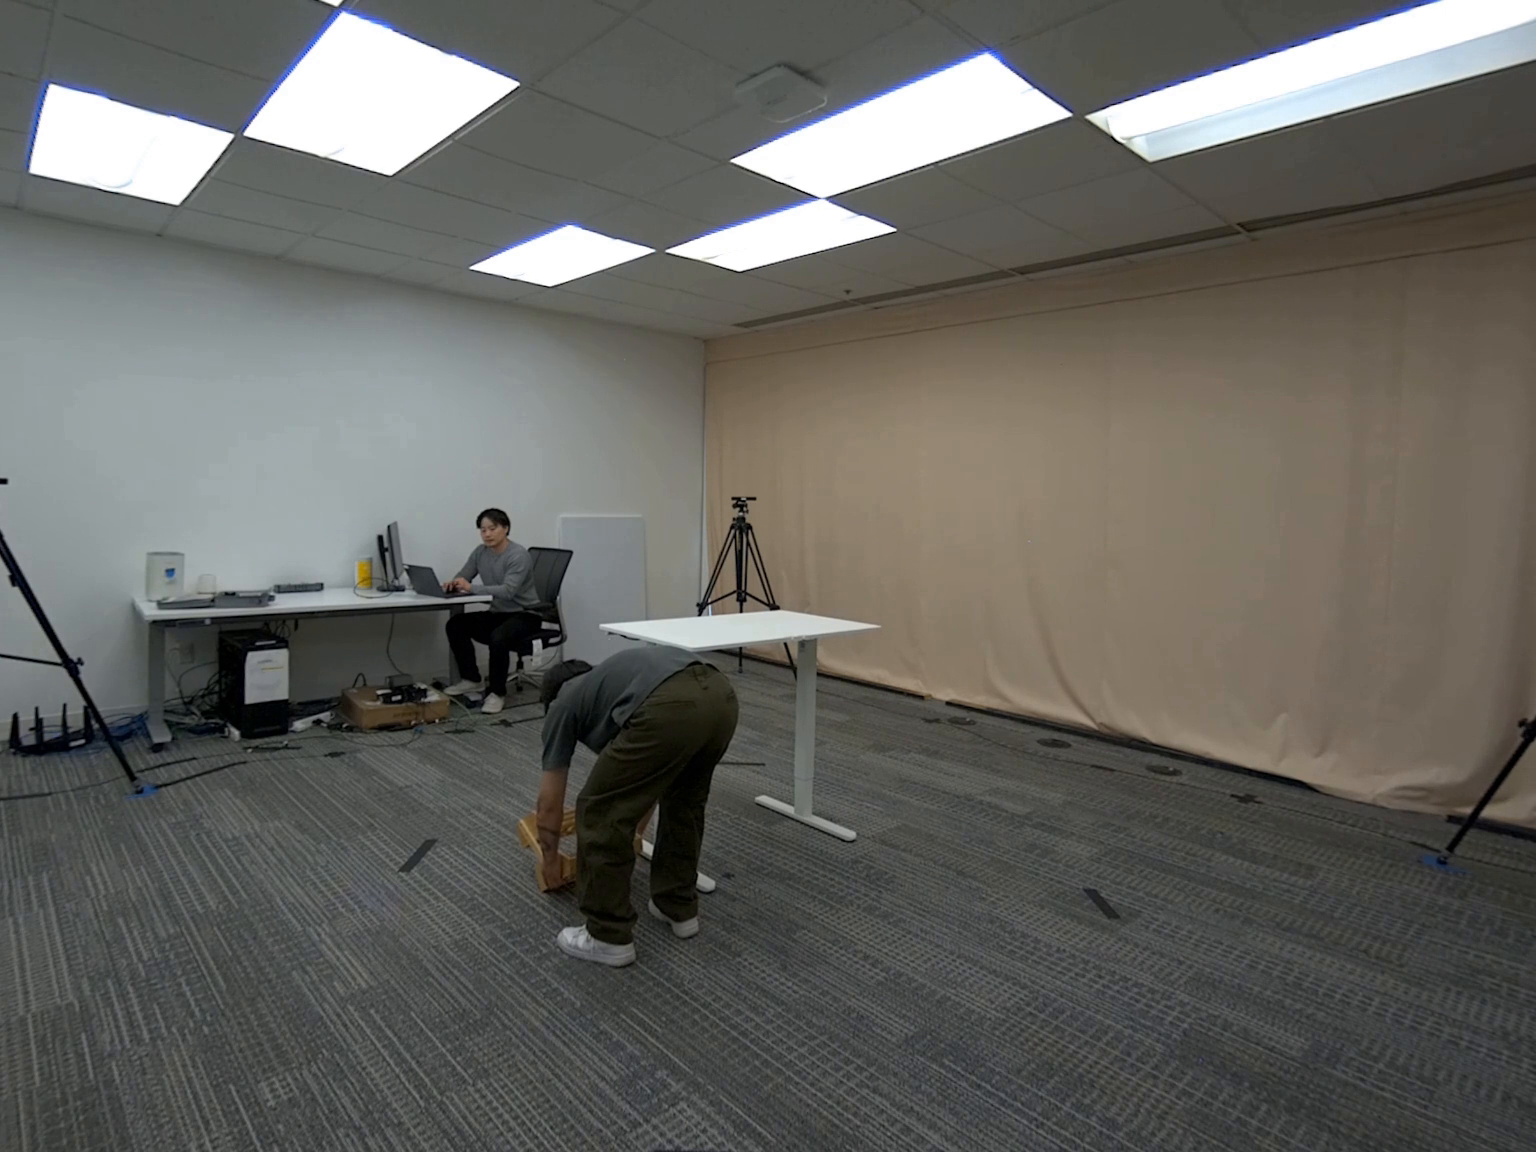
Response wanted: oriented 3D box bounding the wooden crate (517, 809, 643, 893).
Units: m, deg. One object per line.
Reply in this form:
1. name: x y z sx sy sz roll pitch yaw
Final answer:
1. wooden crate: -0.694 0.943 3.027 0.317 0.279 0.303 -1 -30 -44
